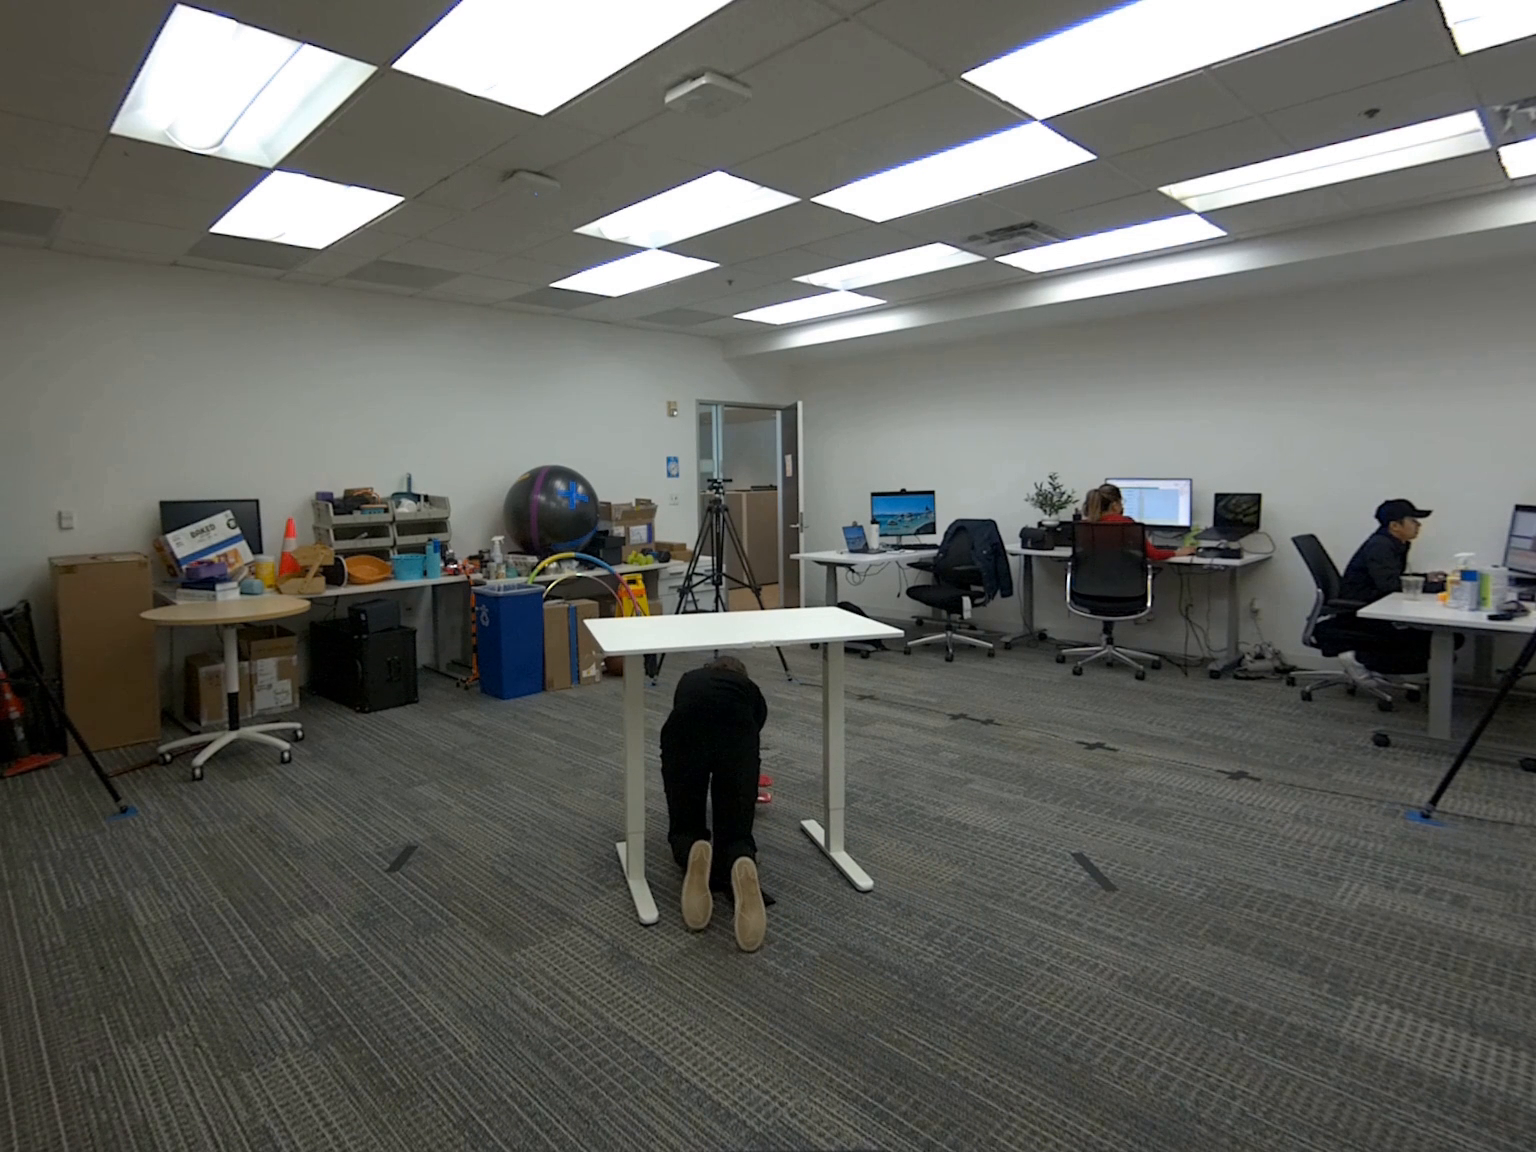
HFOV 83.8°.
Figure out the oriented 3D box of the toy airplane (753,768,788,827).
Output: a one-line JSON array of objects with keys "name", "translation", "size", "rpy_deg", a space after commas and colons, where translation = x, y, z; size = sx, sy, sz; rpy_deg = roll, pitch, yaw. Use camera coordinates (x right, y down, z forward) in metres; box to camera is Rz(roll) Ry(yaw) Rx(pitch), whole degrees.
[{"name": "toy airplane", "translation": [-0.090, 0.916, 3.554], "size": [0.246, 0.156, 0.264], "rpy_deg": [1, 0, -21]}]
